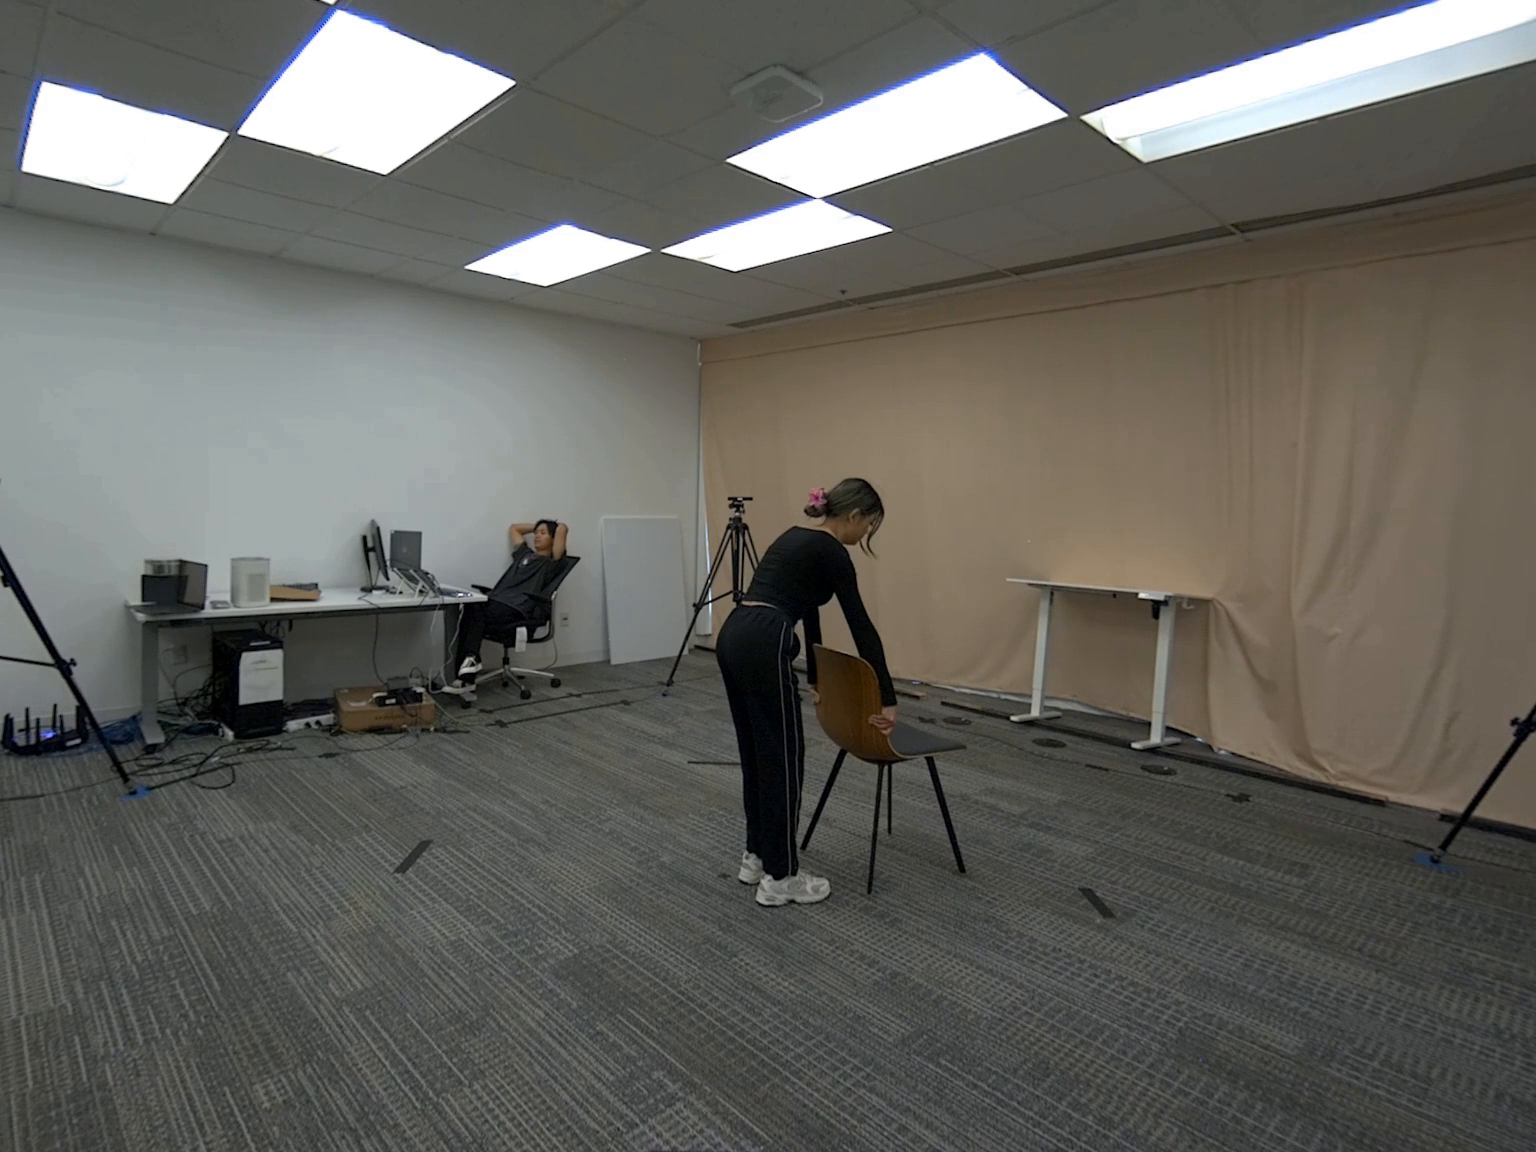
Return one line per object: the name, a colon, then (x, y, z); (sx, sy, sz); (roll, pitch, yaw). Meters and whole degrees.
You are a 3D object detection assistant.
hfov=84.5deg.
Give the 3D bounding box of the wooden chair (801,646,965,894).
wooden chair: (0.449, 0.676, 3.245); (0.513, 0.874, 0.488); (-5, 5, -29)
